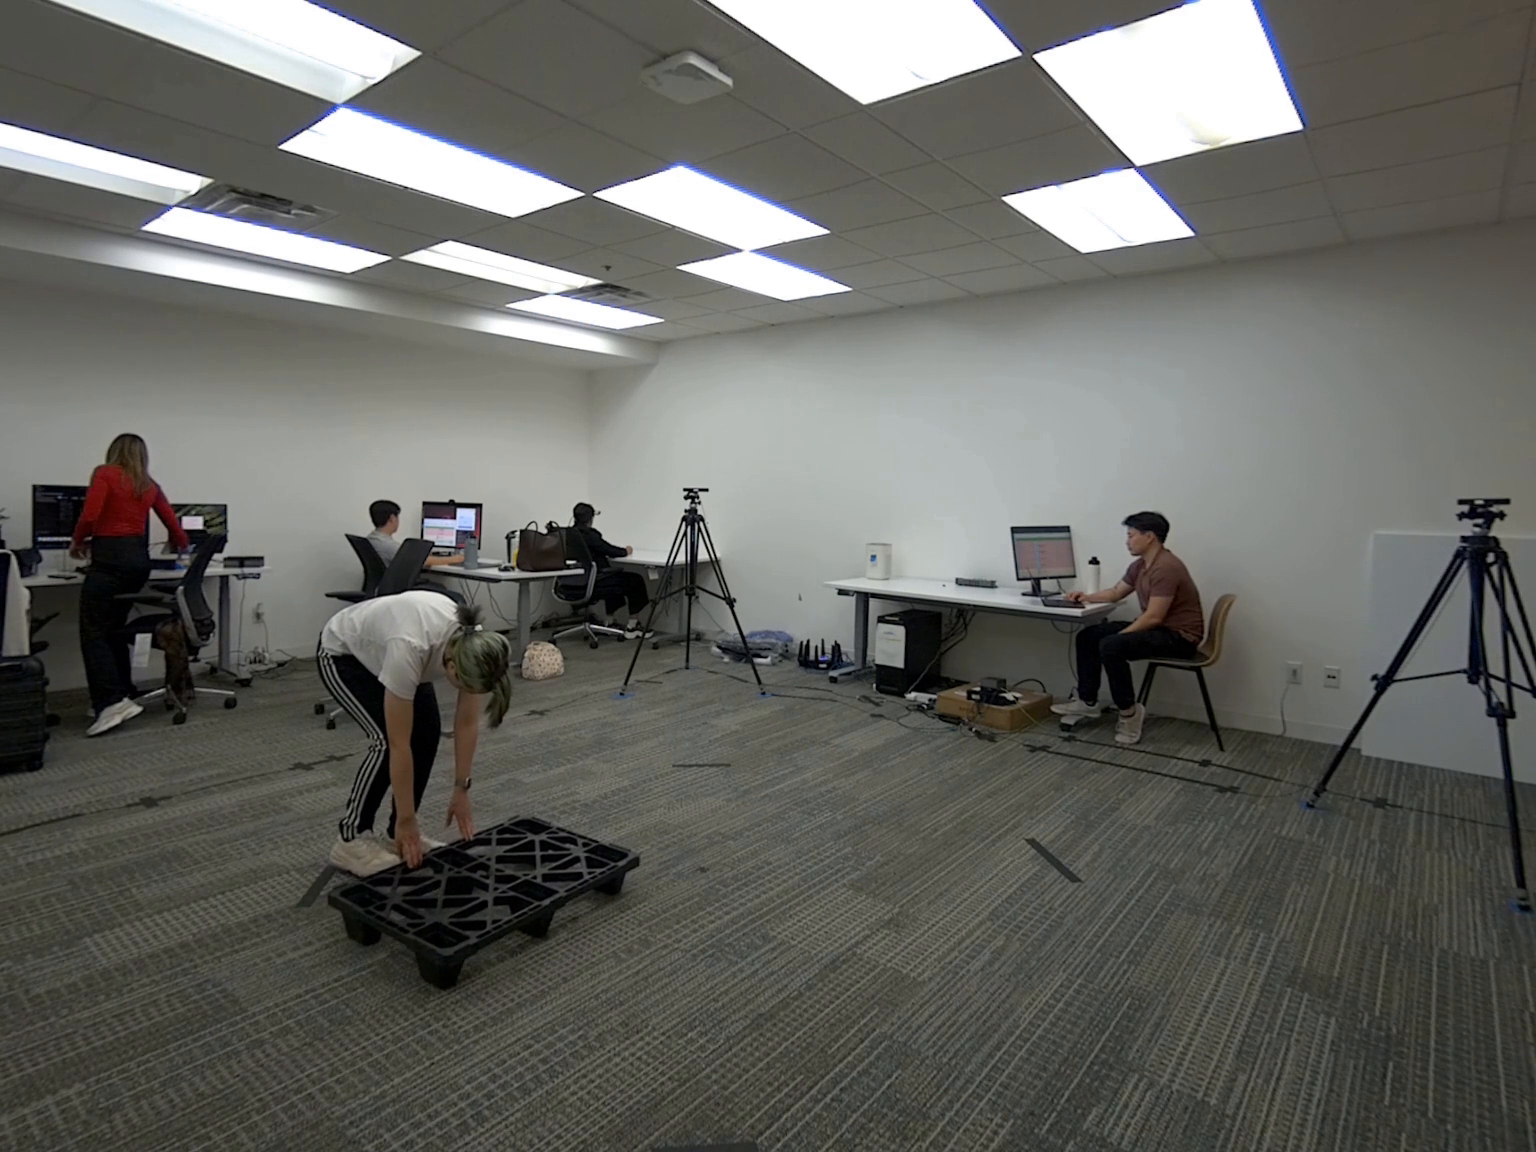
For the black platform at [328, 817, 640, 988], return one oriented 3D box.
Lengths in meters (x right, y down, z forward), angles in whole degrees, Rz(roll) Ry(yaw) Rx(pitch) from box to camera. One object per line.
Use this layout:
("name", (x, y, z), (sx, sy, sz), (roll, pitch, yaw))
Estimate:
("black platform", (-0.907, 1.025, 2.761), (0.624, 0.143, 0.784), (4, 6, 33))
